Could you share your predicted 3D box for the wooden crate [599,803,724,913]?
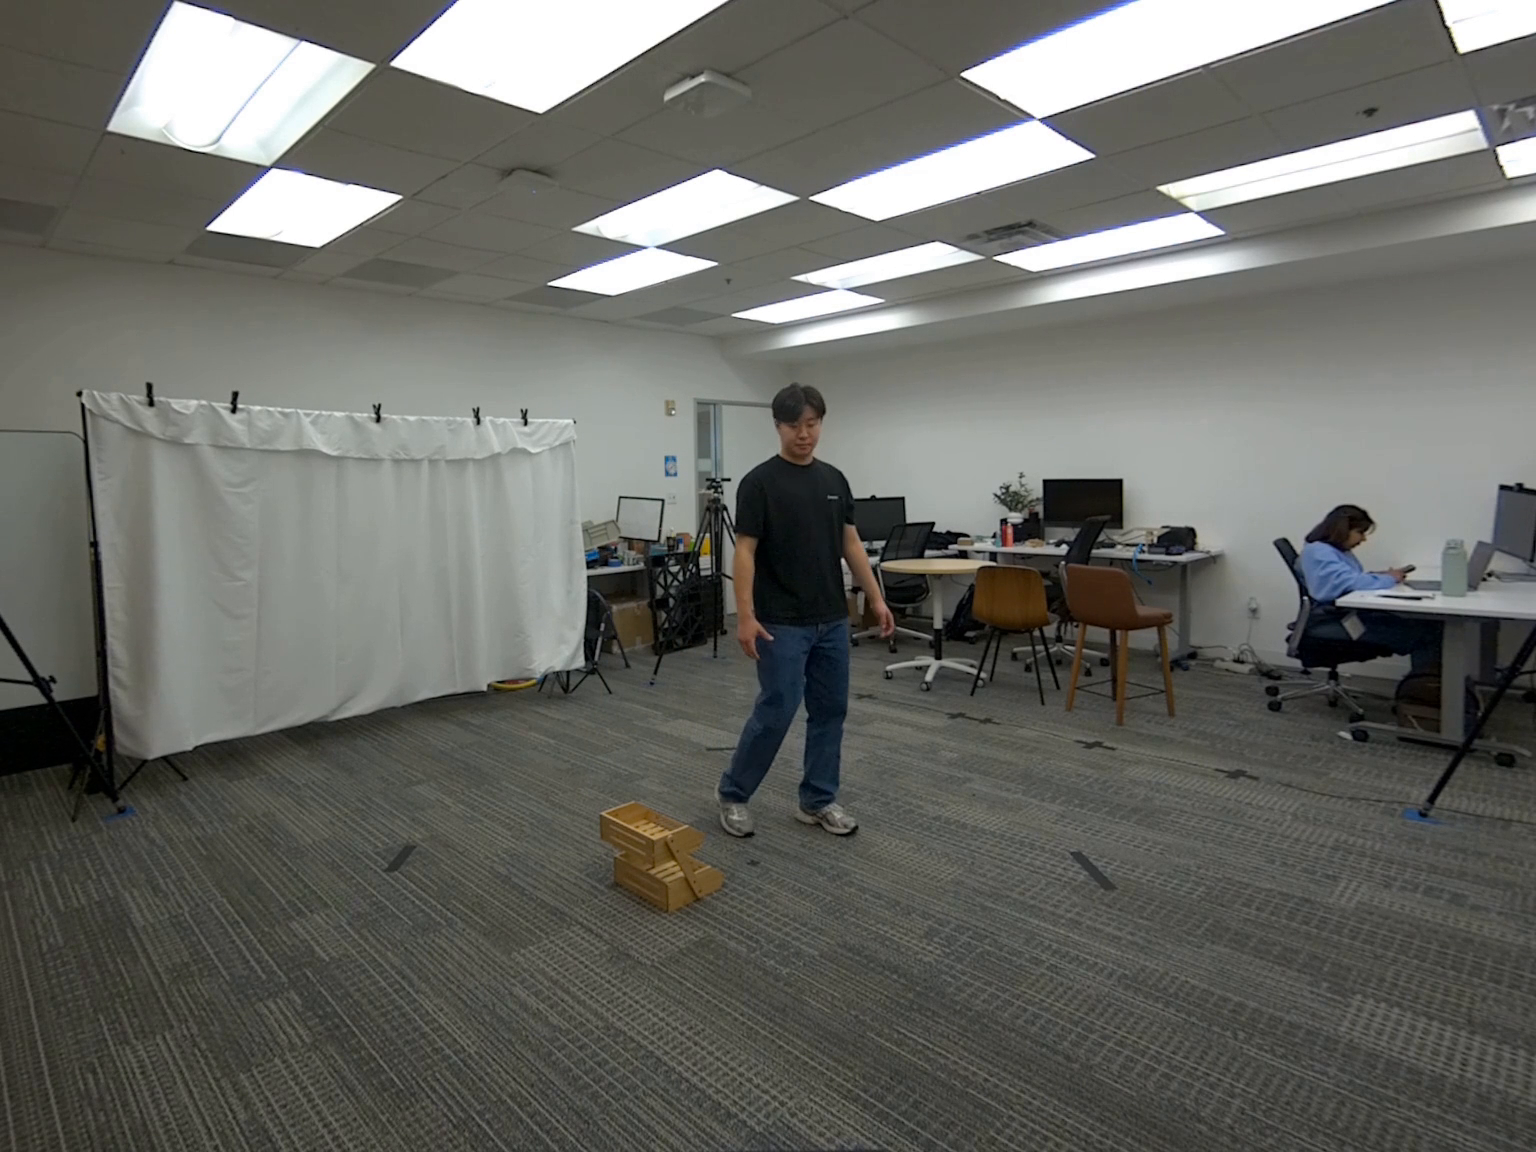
[{"bbox_3d":[-0.355,0.934,2.924,0.294,0.272,0.334,-7,8,-44],"label":"wooden crate"}]
